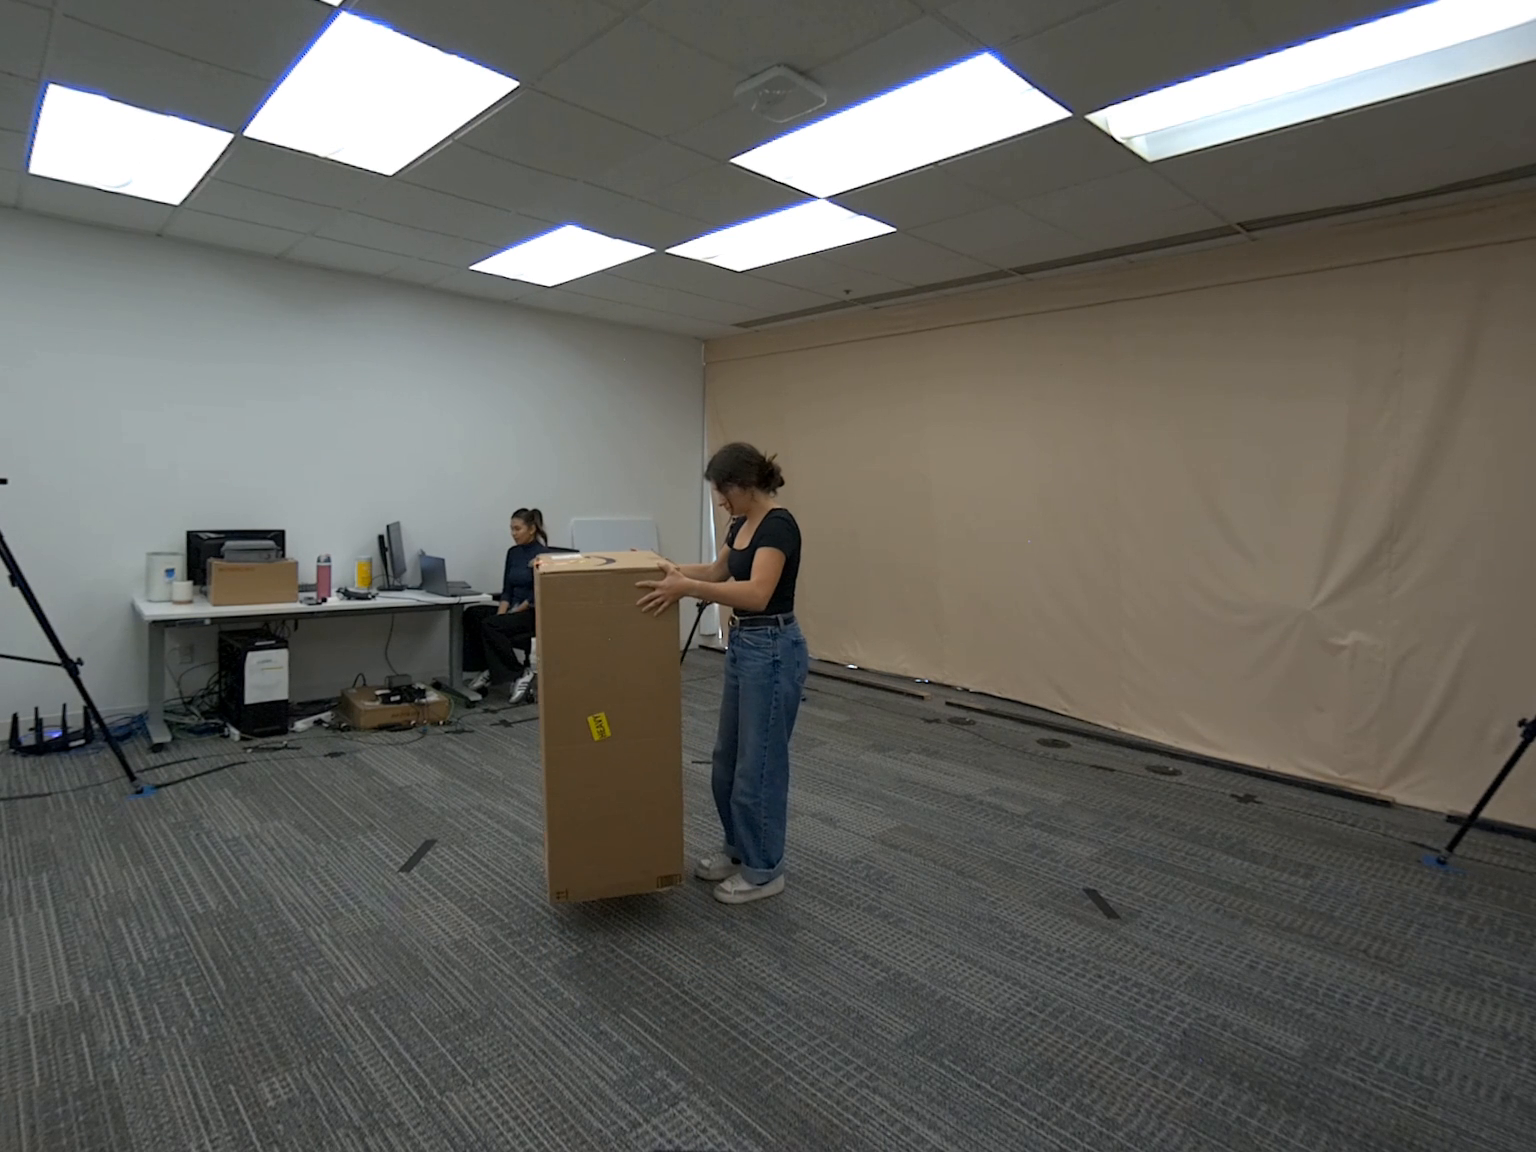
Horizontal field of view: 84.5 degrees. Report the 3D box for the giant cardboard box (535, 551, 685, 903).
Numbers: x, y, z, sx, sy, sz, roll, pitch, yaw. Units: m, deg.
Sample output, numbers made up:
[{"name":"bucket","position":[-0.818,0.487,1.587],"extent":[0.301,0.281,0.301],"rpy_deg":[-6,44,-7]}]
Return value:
[{"name":"giant cardboard box","position":[-0.553,0.463,2.835],"extent":[0.421,1.022,0.586],"rpy_deg":[-2,5,-15]}]
